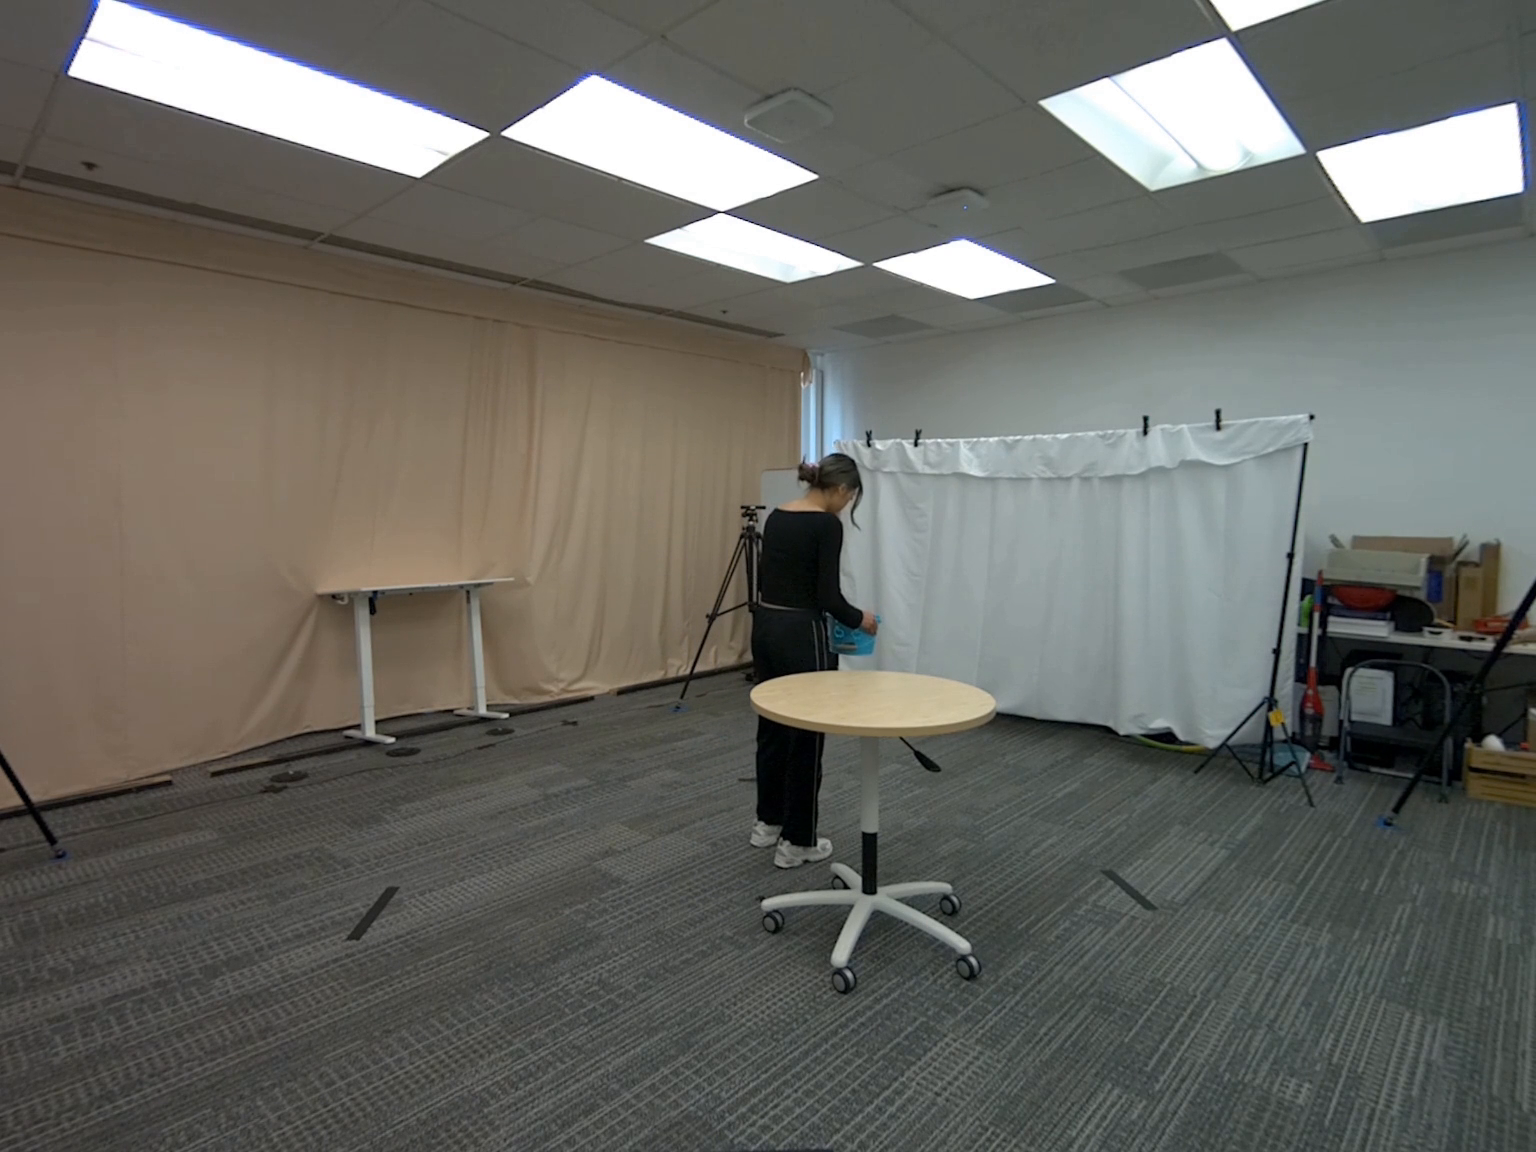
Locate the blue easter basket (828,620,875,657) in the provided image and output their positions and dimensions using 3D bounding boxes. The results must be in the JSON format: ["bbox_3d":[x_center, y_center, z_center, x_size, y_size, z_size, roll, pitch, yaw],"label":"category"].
[{"bbox_3d":[0.350,0.245,3.491,0.243,0.155,0.244,3,4,-2],"label":"blue easter basket"}]
